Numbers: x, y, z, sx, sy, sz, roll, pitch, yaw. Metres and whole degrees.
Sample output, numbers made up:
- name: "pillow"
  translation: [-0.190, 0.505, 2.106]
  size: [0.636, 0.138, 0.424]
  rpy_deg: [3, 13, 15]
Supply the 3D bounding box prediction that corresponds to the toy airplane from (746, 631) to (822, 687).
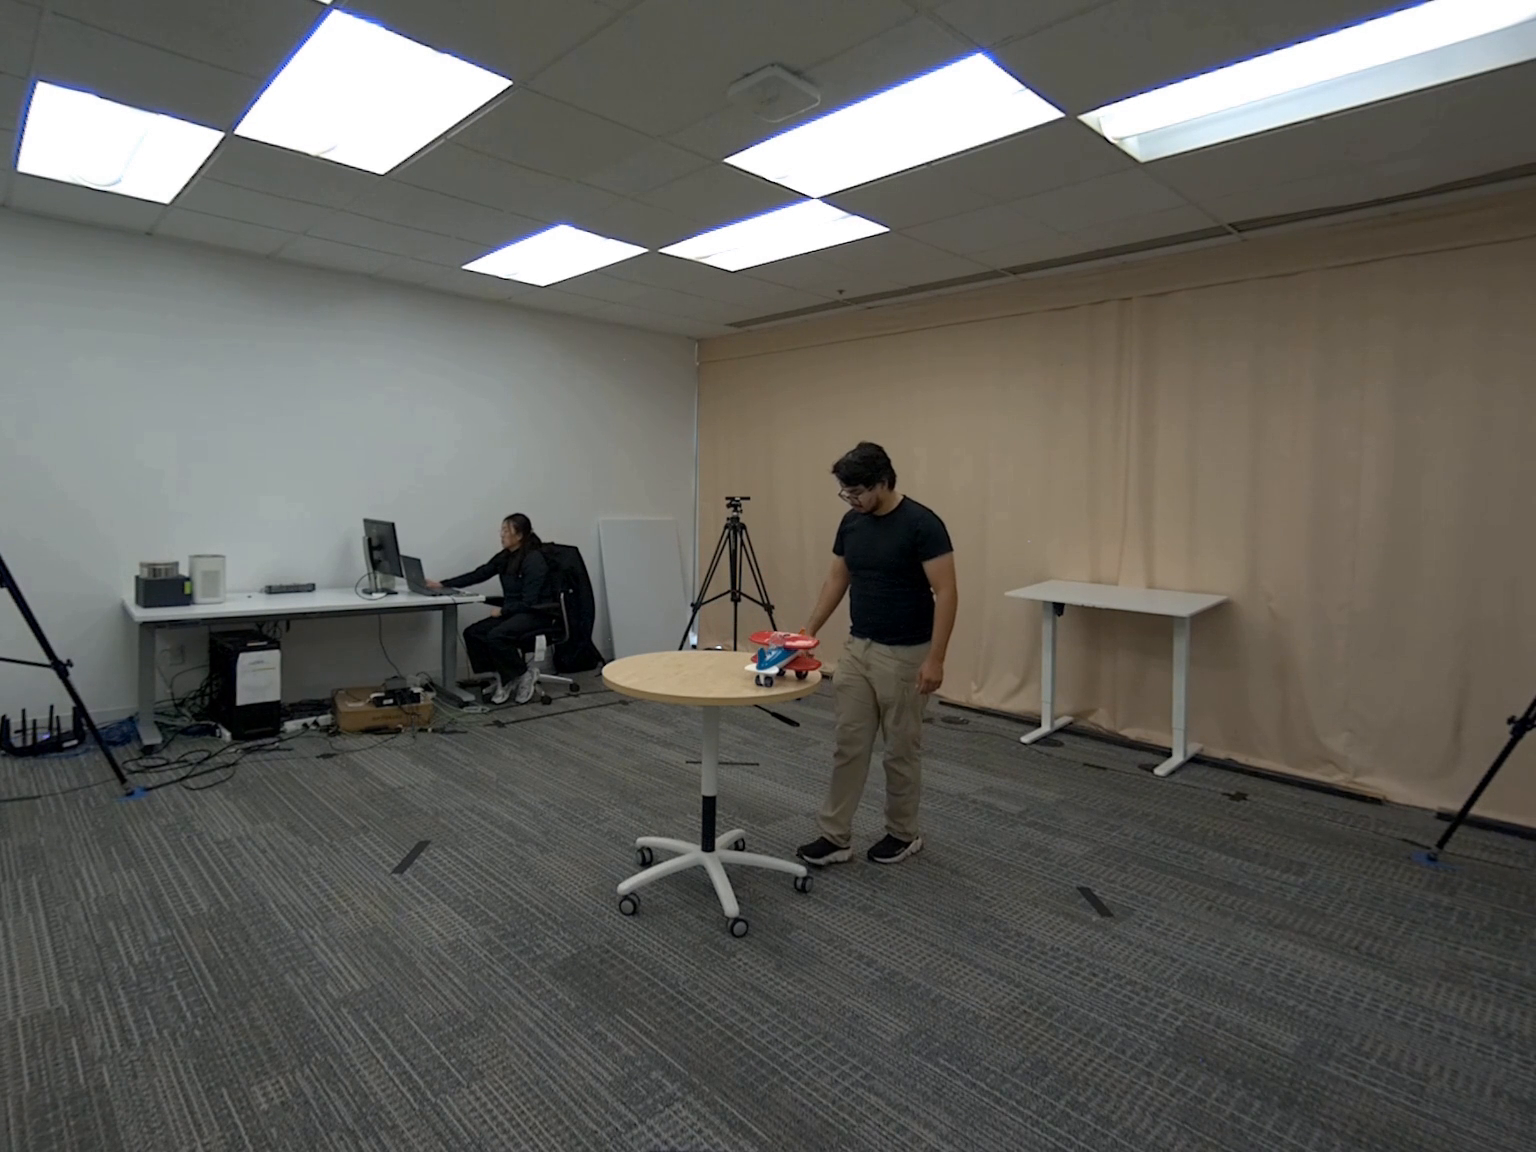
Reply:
- name: "toy airplane"
  translation: [0.050, 0.280, 2.804]
  size: [0.252, 0.156, 0.259]
  rpy_deg: [1, 4, 3]
